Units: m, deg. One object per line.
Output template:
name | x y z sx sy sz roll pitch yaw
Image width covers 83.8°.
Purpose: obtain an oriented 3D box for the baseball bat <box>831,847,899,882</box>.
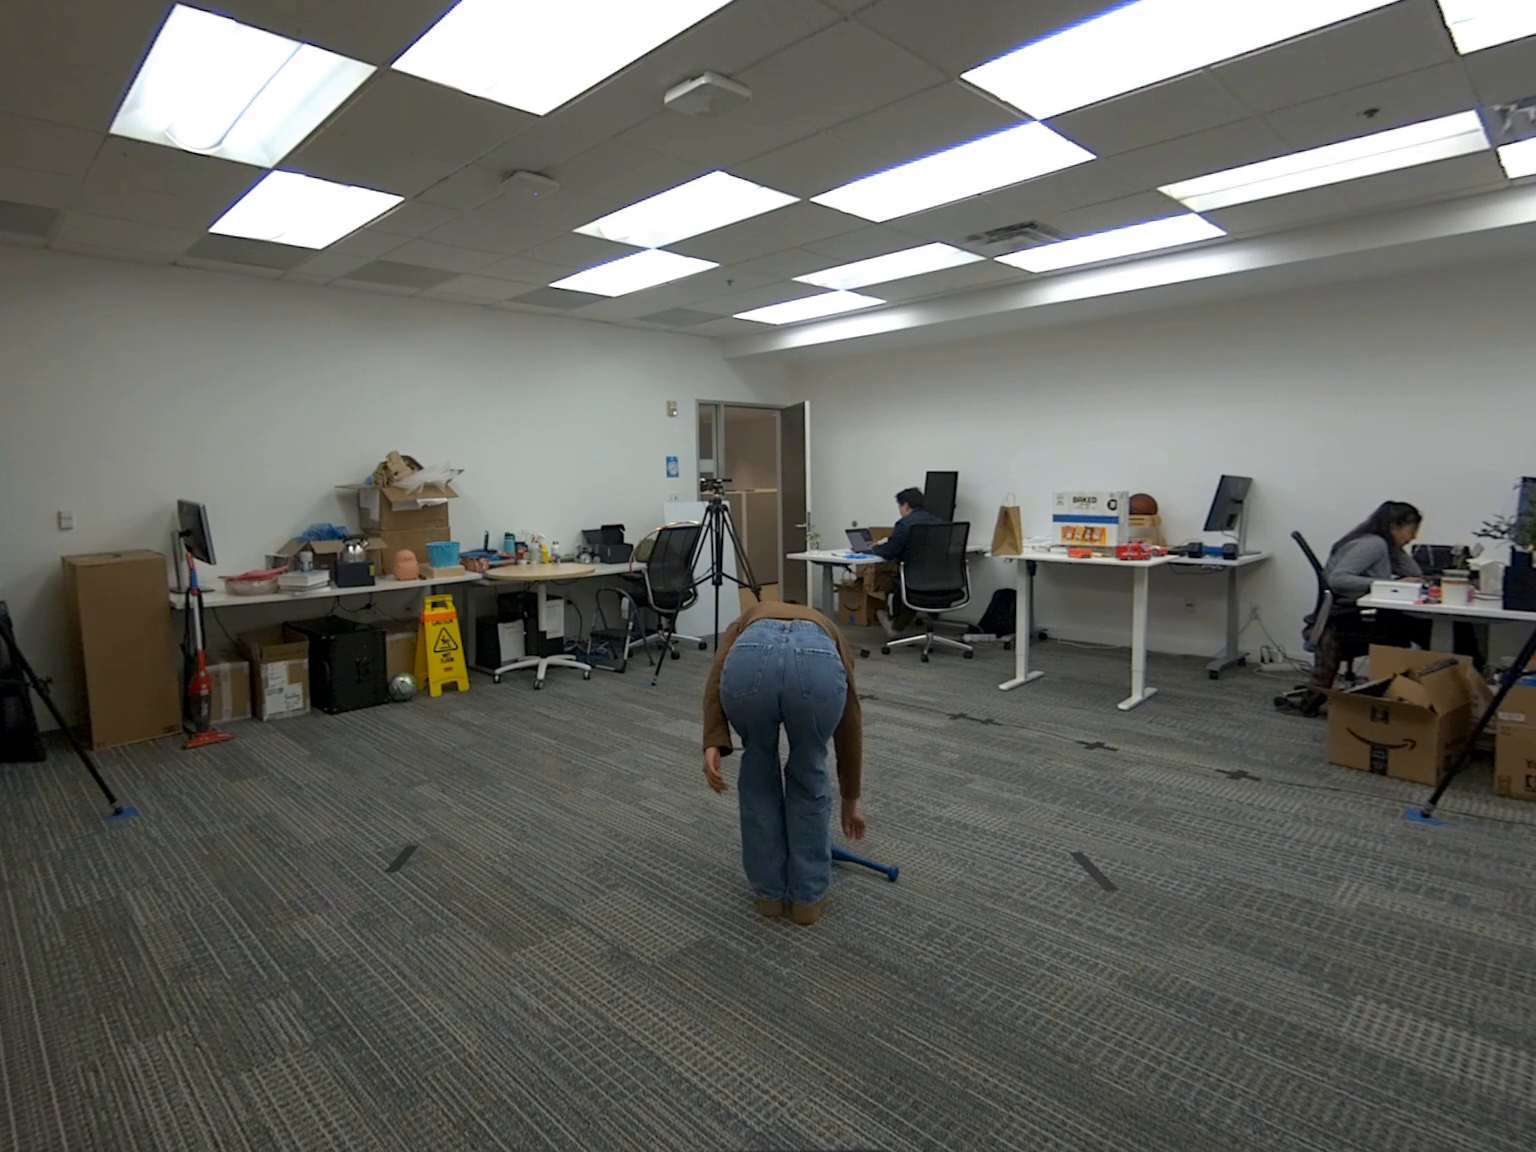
baseball bat | 0.222 1.003 3.109 0.560 0.088 0.087 8 9 35
